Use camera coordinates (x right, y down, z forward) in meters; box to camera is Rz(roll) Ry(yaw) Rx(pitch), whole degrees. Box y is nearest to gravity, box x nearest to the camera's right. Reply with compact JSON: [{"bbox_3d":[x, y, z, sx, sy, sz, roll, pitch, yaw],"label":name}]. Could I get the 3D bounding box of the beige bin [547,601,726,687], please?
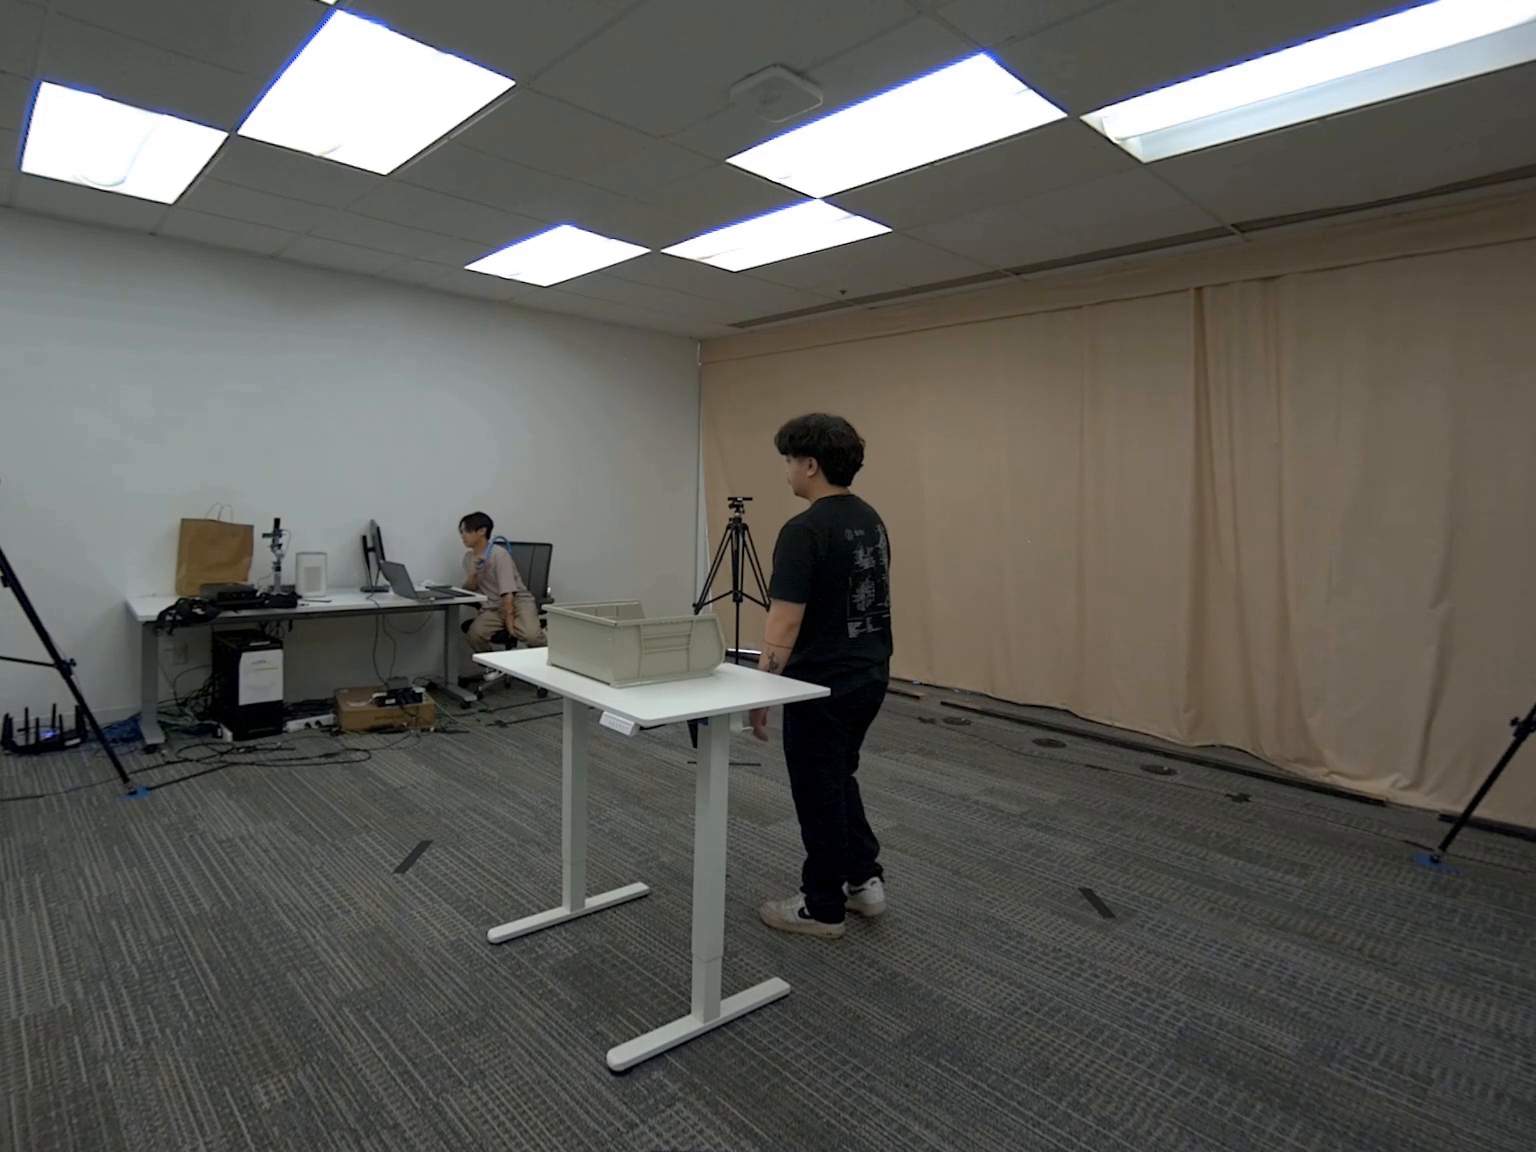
[{"bbox_3d":[-0.400,0.187,2.480,0.369,0.188,0.433,-3,7,-39],"label":"beige bin"}]
